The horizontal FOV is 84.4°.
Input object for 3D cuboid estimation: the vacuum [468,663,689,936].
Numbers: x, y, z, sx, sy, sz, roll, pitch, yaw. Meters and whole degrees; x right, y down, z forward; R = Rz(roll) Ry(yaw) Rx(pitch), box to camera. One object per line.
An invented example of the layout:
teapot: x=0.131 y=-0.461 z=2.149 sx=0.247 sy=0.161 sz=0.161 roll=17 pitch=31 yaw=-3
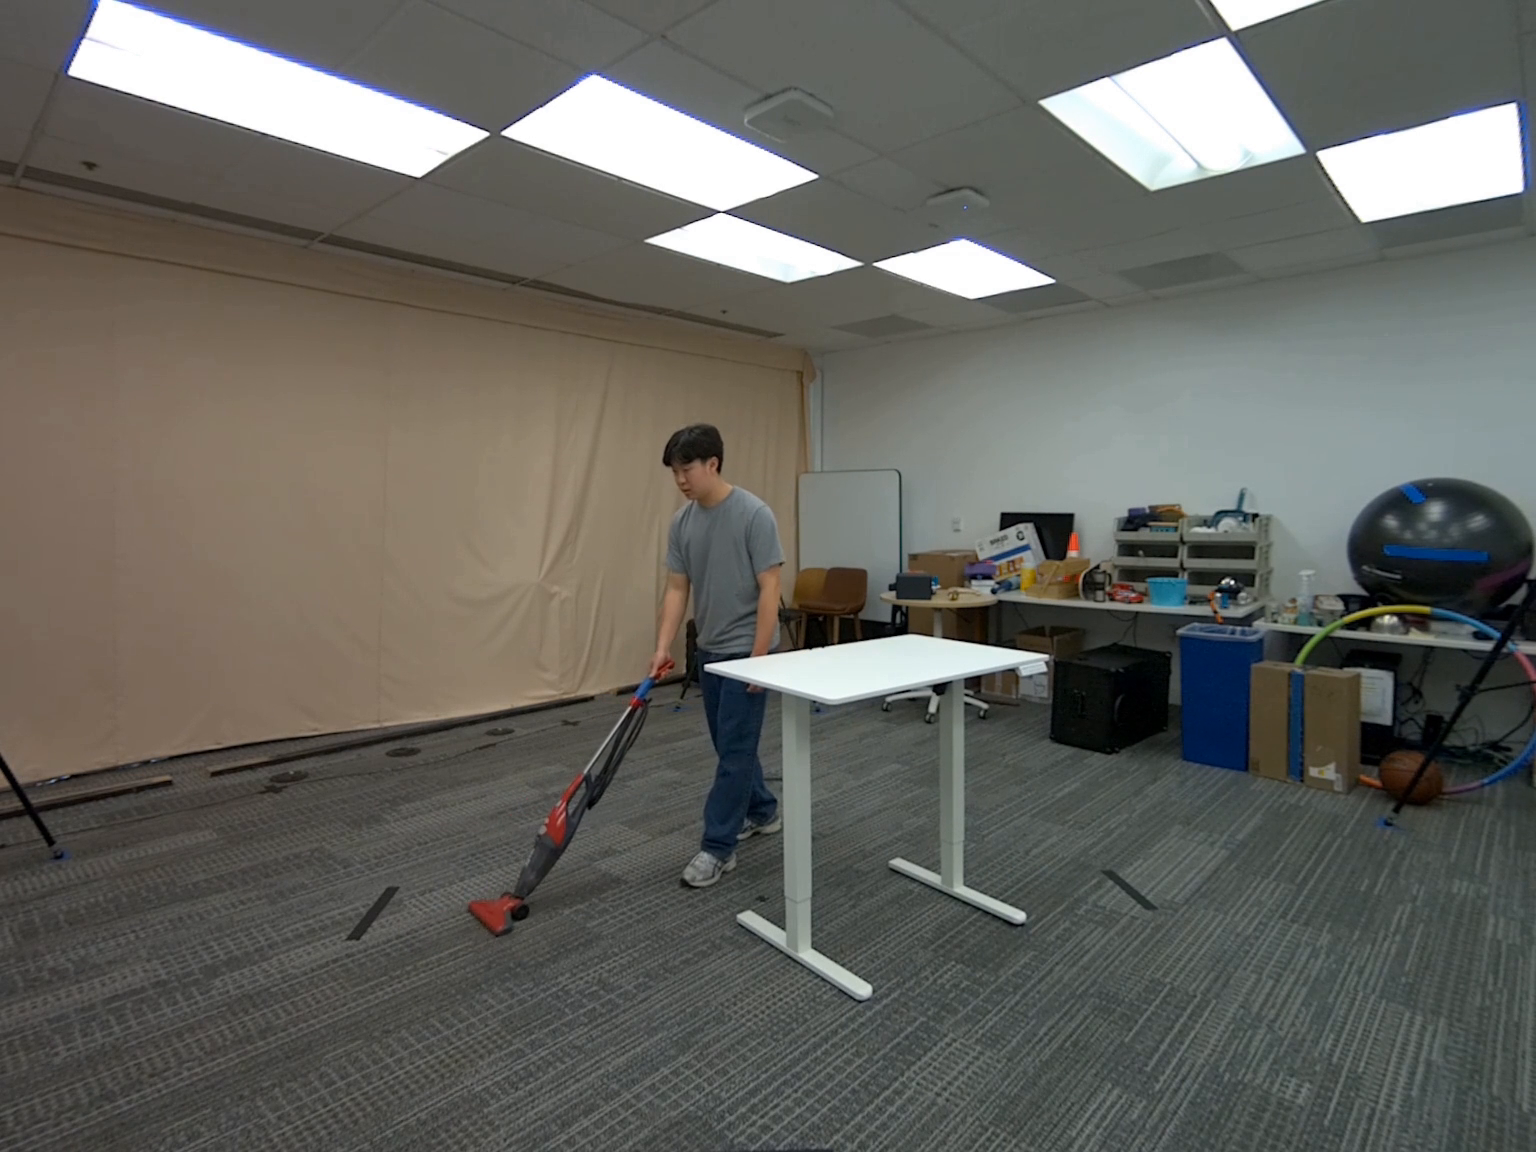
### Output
vacuum: x=-0.650 y=0.758 z=3.059 sx=0.261 sy=1.046 sz=0.139 roll=6 pitch=-37 yaw=48
